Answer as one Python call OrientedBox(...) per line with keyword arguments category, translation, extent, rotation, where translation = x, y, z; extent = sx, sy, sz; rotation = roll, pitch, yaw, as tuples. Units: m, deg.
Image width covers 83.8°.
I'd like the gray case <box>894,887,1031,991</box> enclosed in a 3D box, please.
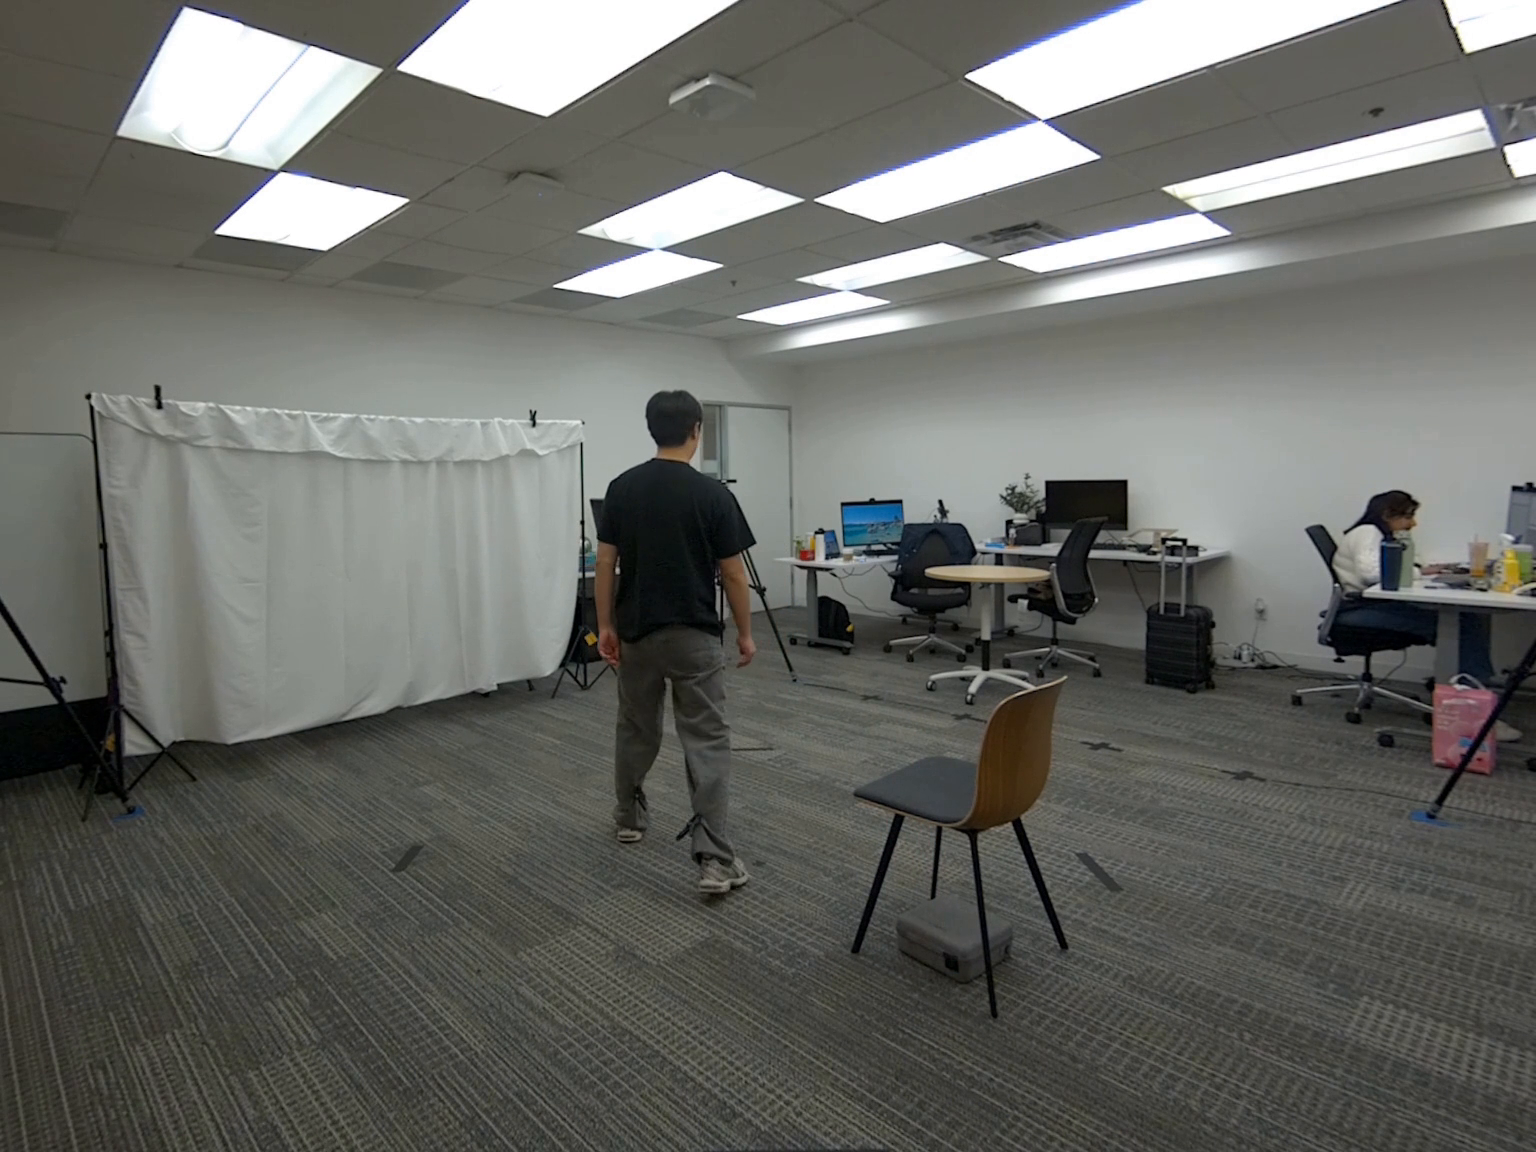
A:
OrientedBox(category="gray case", translation=(0.566, 1.051, 2.510), extent=(0.280, 0.102, 0.271), rotation=(-5, 7, -39))
